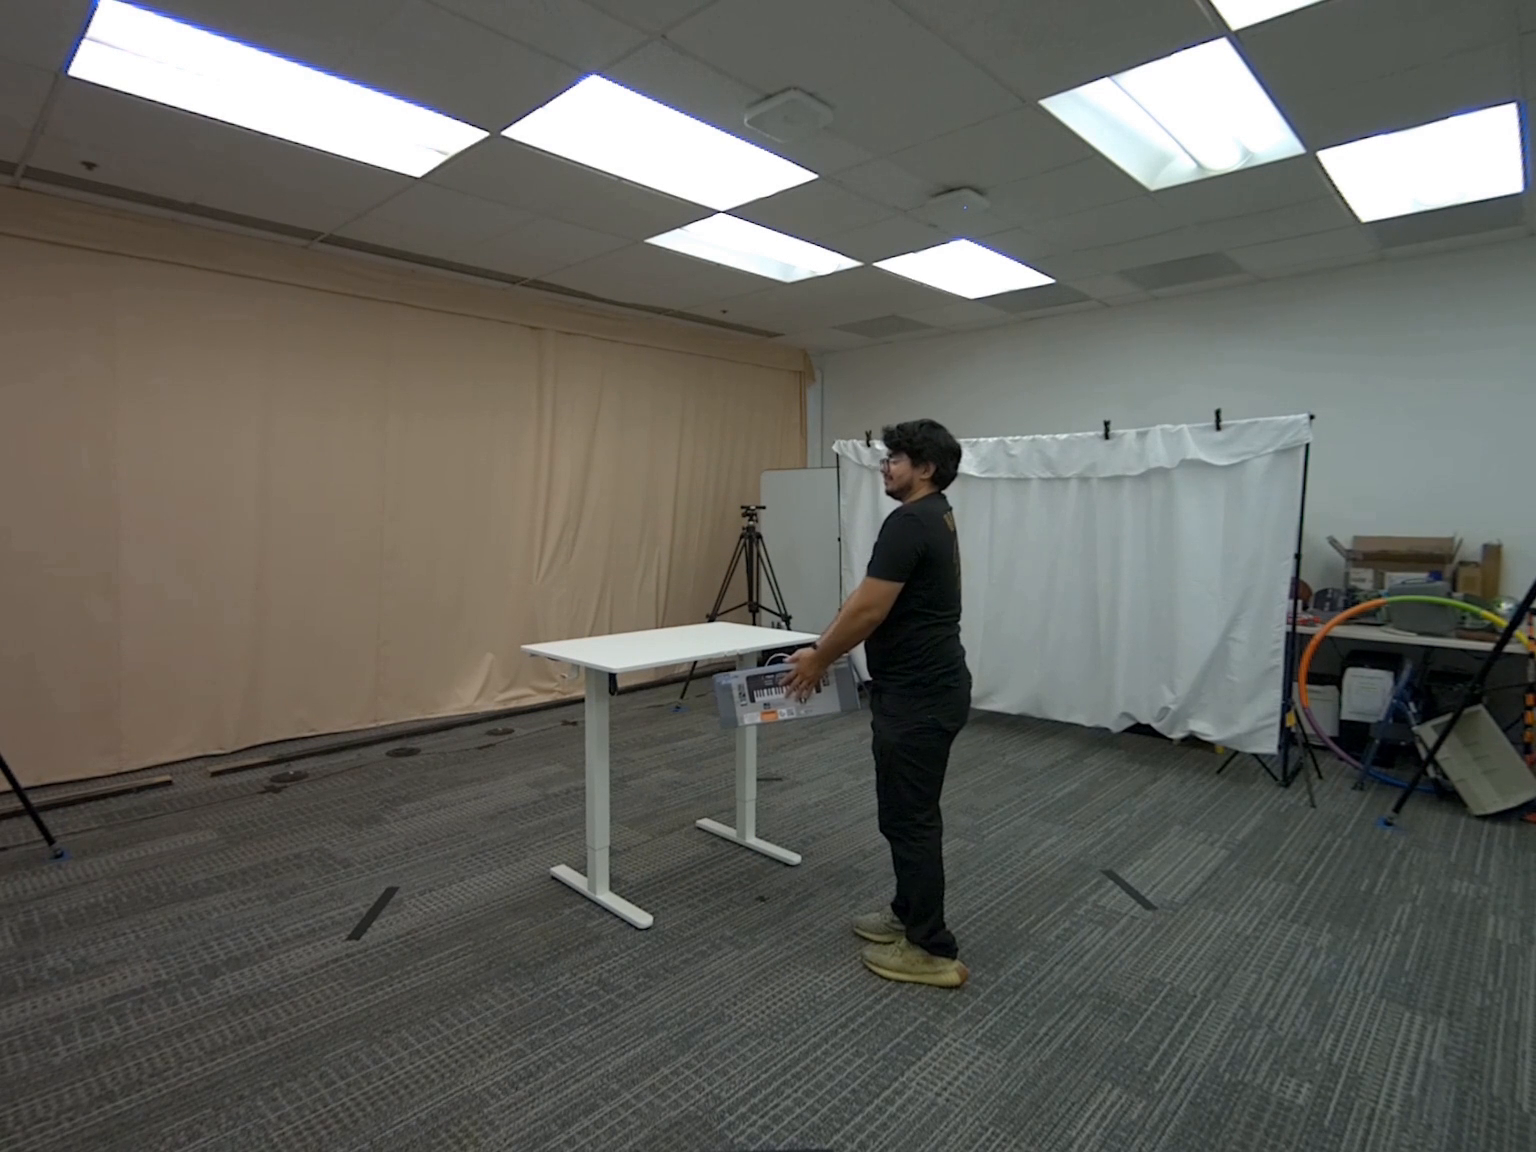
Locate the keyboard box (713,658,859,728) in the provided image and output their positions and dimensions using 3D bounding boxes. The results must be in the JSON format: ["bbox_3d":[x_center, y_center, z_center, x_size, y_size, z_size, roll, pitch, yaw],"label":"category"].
[{"bbox_3d":[0.061,0.369,2.656,0.440,0.176,0.058,-9,-3,7],"label":"keyboard box"}]
